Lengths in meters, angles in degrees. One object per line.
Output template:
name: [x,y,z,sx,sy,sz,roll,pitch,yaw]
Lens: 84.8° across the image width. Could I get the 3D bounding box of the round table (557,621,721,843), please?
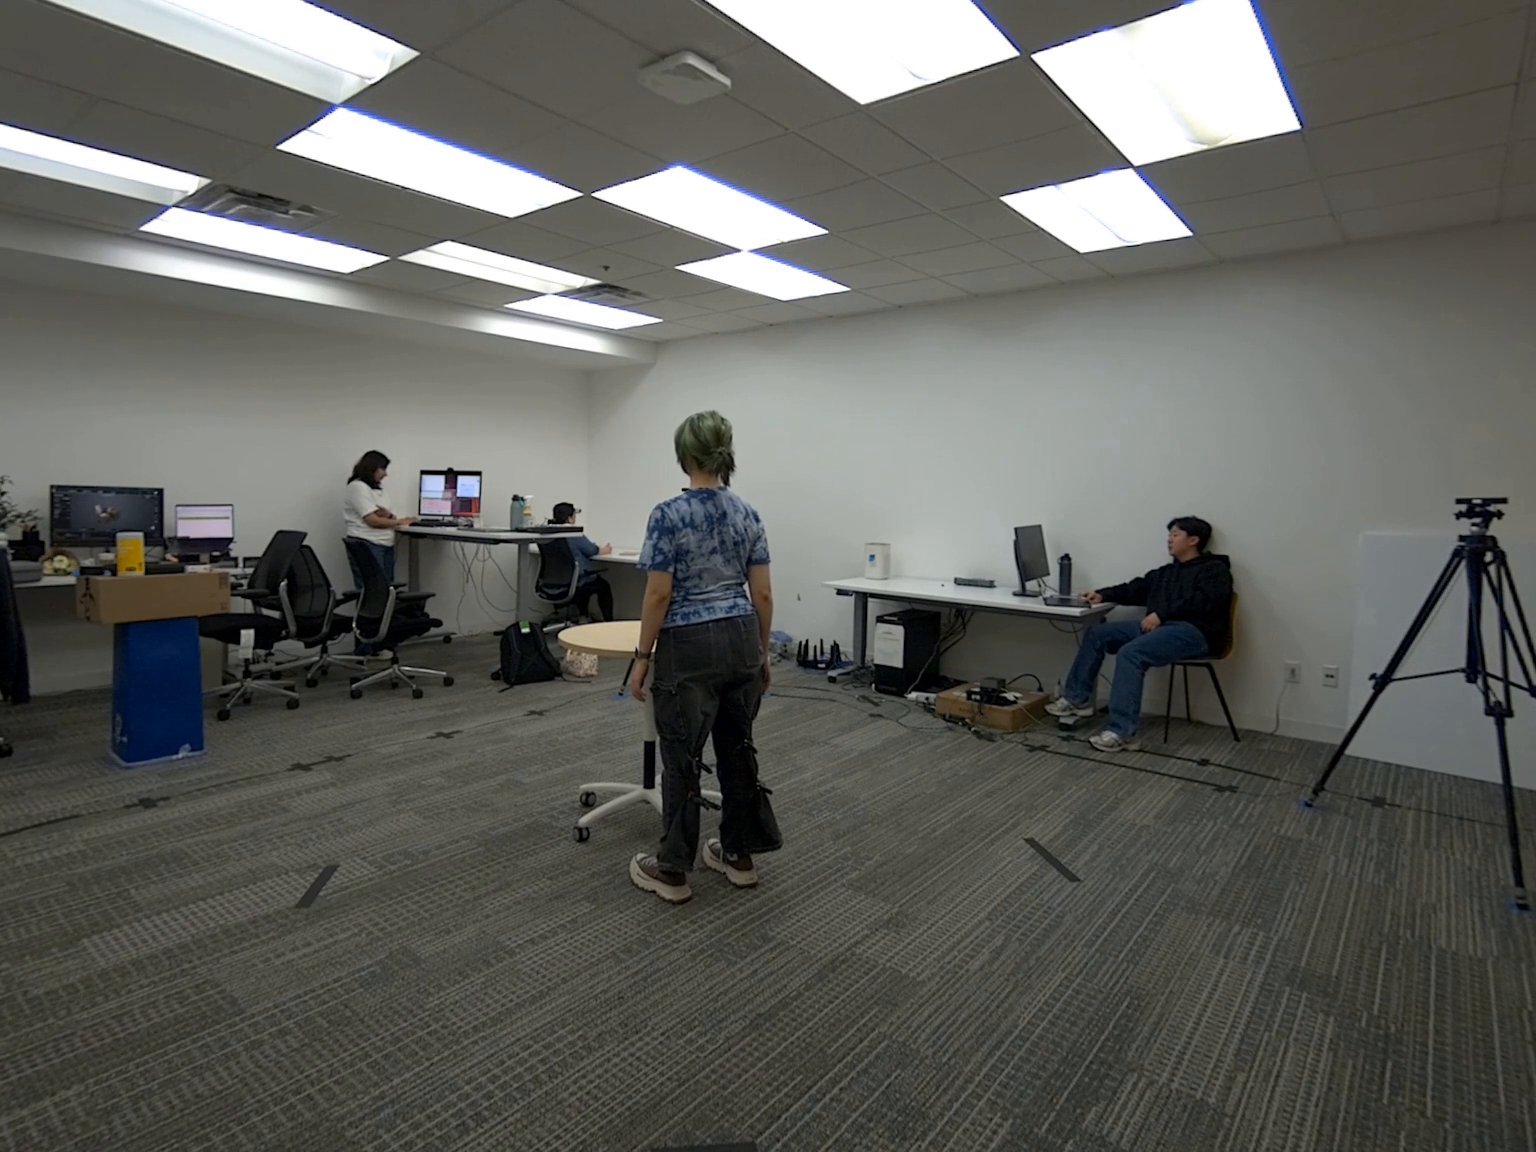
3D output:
round table: [-0.504,0.635,3.547,0.763,0.792,0.767,1,4,-2]
